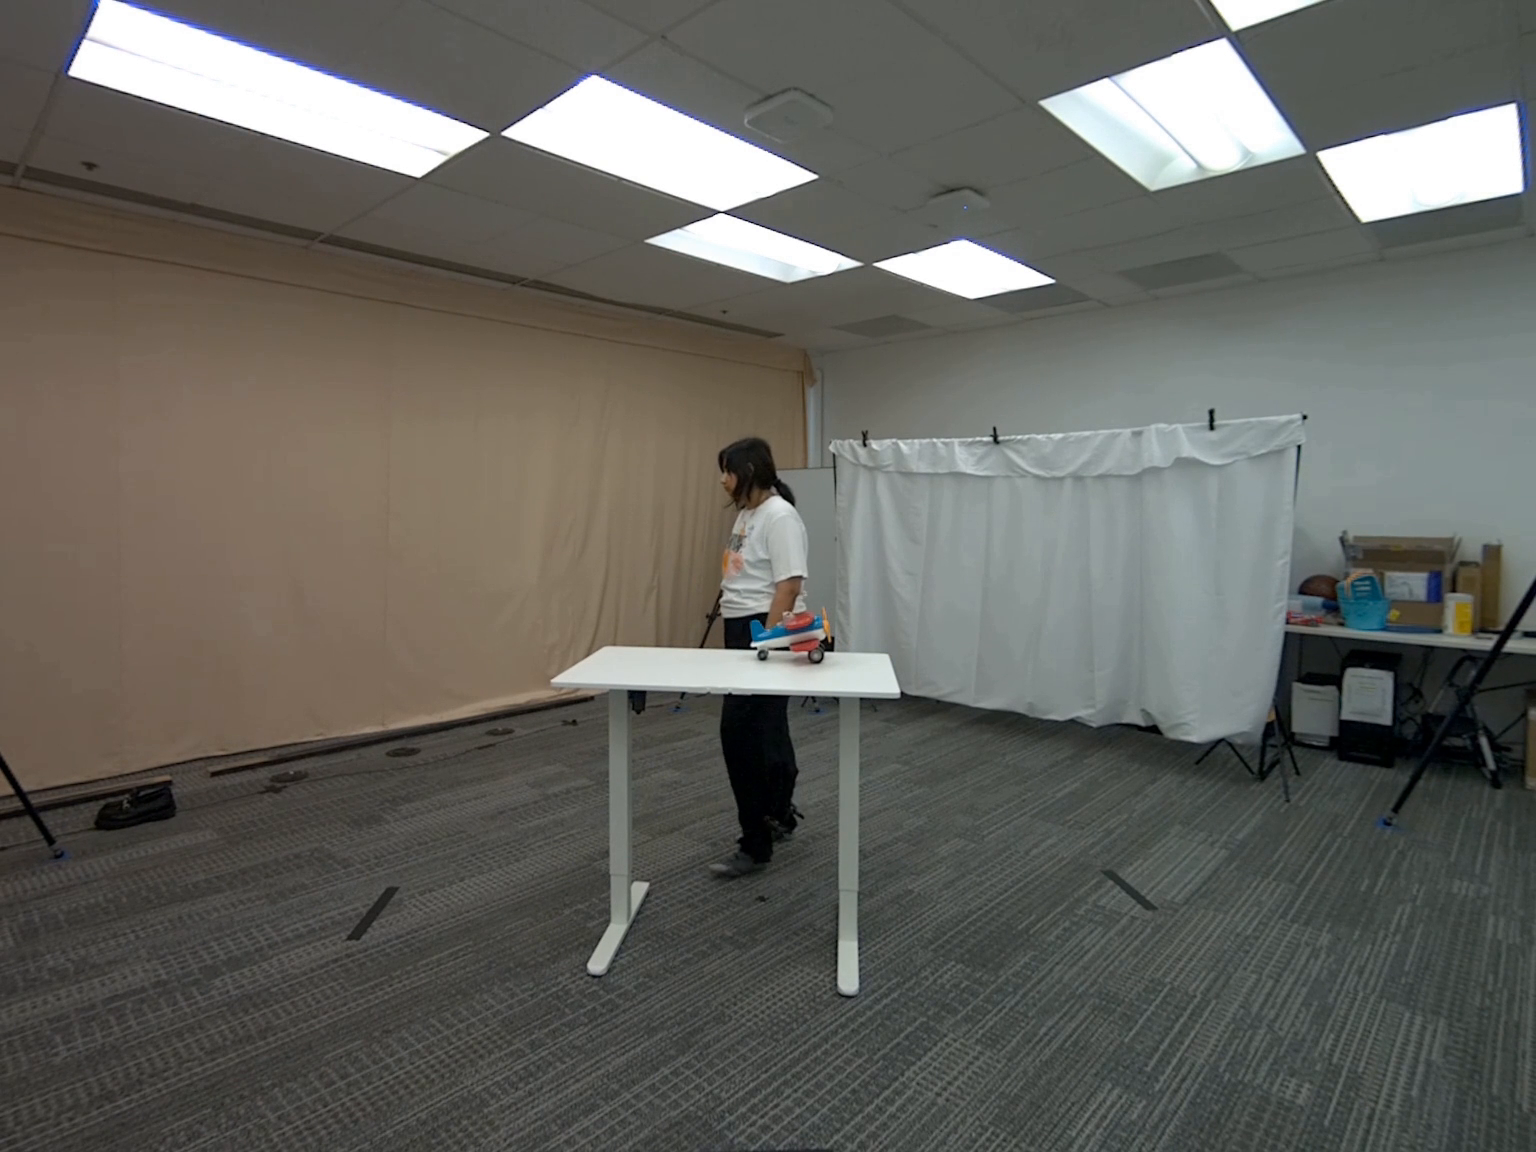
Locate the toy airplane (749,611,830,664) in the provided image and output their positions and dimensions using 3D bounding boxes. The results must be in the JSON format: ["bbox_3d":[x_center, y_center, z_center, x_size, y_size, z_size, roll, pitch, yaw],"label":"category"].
[{"bbox_3d":[0.082,0.204,2.752,0.254,0.156,0.257,-2,4,-22],"label":"toy airplane"}]
